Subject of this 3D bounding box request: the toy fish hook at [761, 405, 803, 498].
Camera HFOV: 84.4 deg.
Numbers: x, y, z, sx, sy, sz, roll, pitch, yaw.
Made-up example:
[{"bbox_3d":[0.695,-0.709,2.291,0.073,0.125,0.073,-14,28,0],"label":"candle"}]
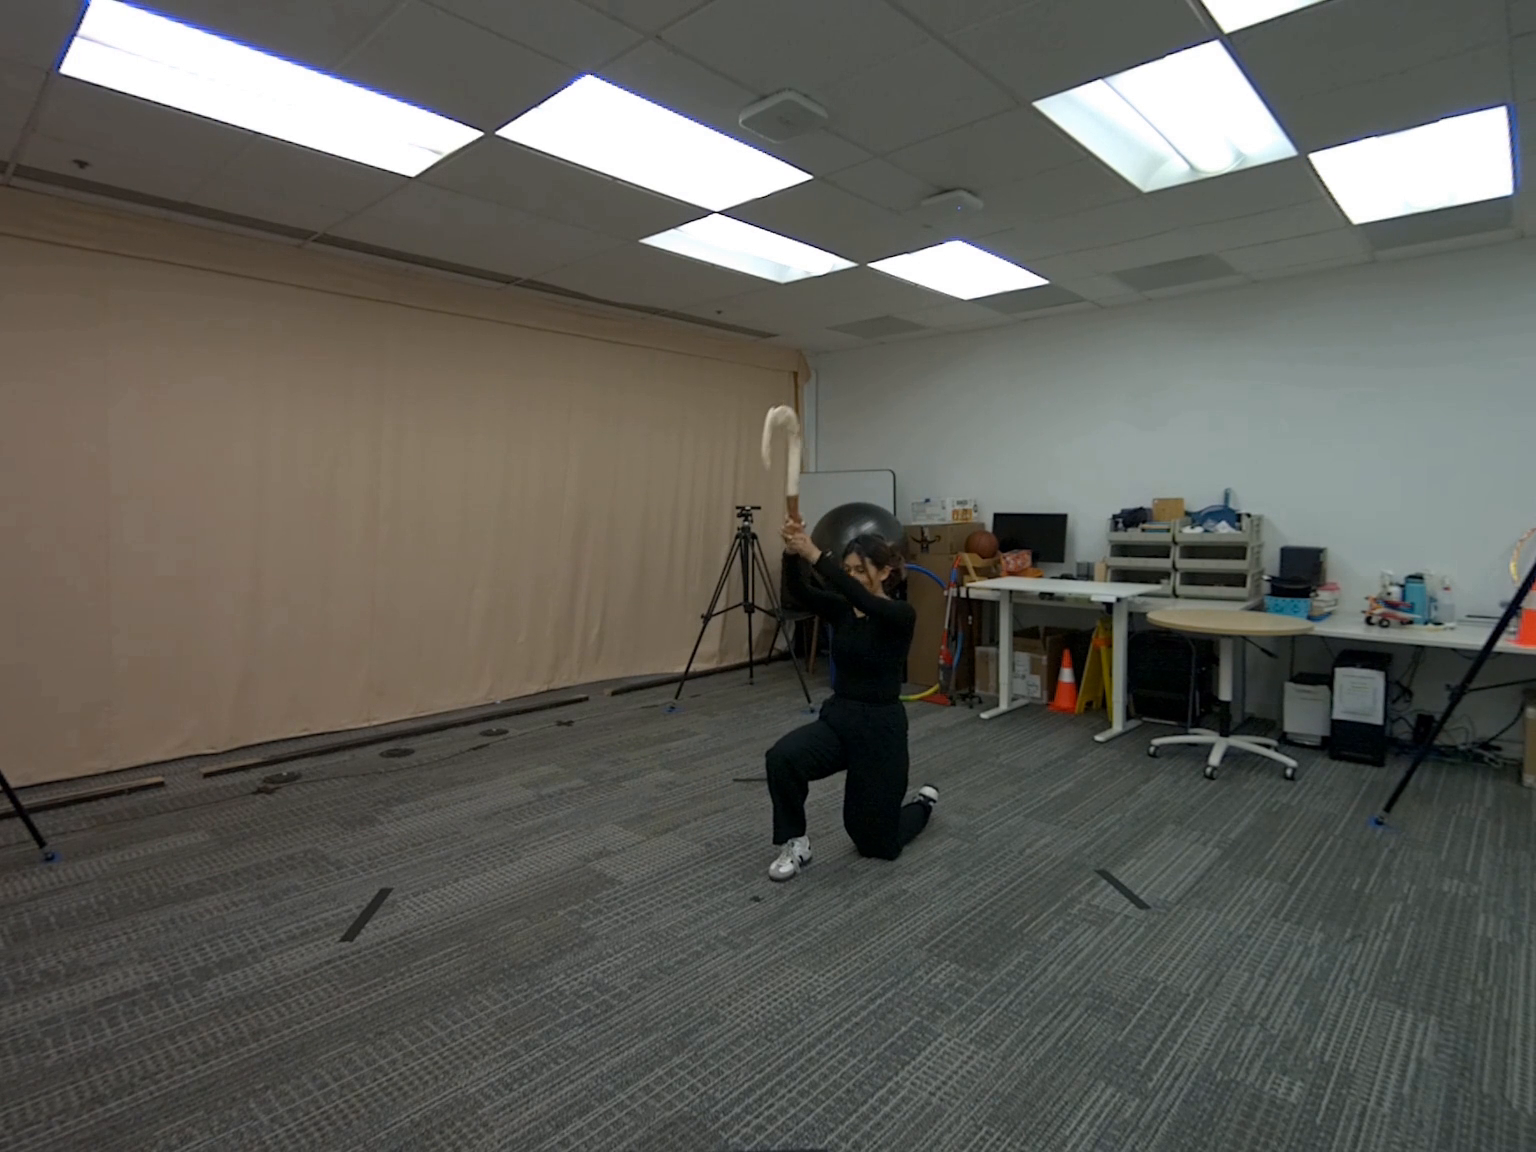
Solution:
[{"bbox_3d":[0.070,-0.293,2.898,0.050,0.501,0.219,6,18,39],"label":"toy fish hook"}]
